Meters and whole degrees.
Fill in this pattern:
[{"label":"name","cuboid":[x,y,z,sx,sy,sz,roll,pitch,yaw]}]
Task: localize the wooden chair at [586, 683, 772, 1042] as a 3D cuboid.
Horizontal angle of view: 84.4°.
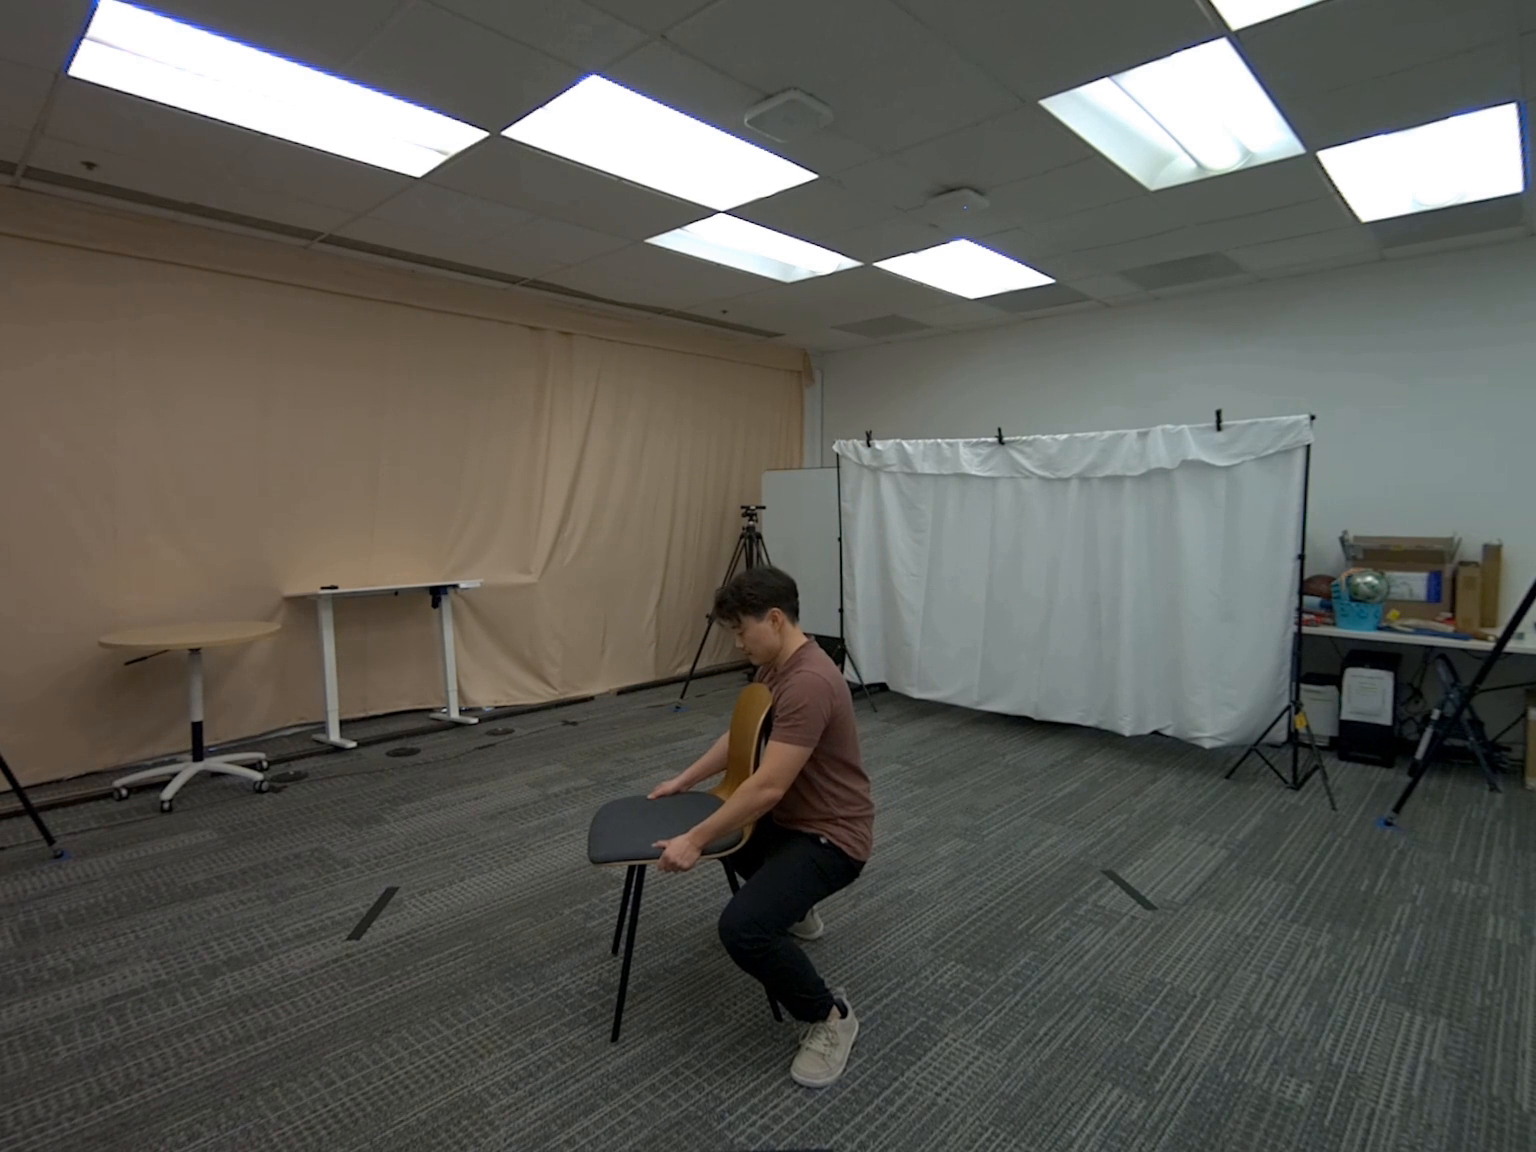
[{"label":"wooden chair","cuboid":[-0.259,0.762,2.405,0.519,0.875,0.483,1,5,-8]}]
